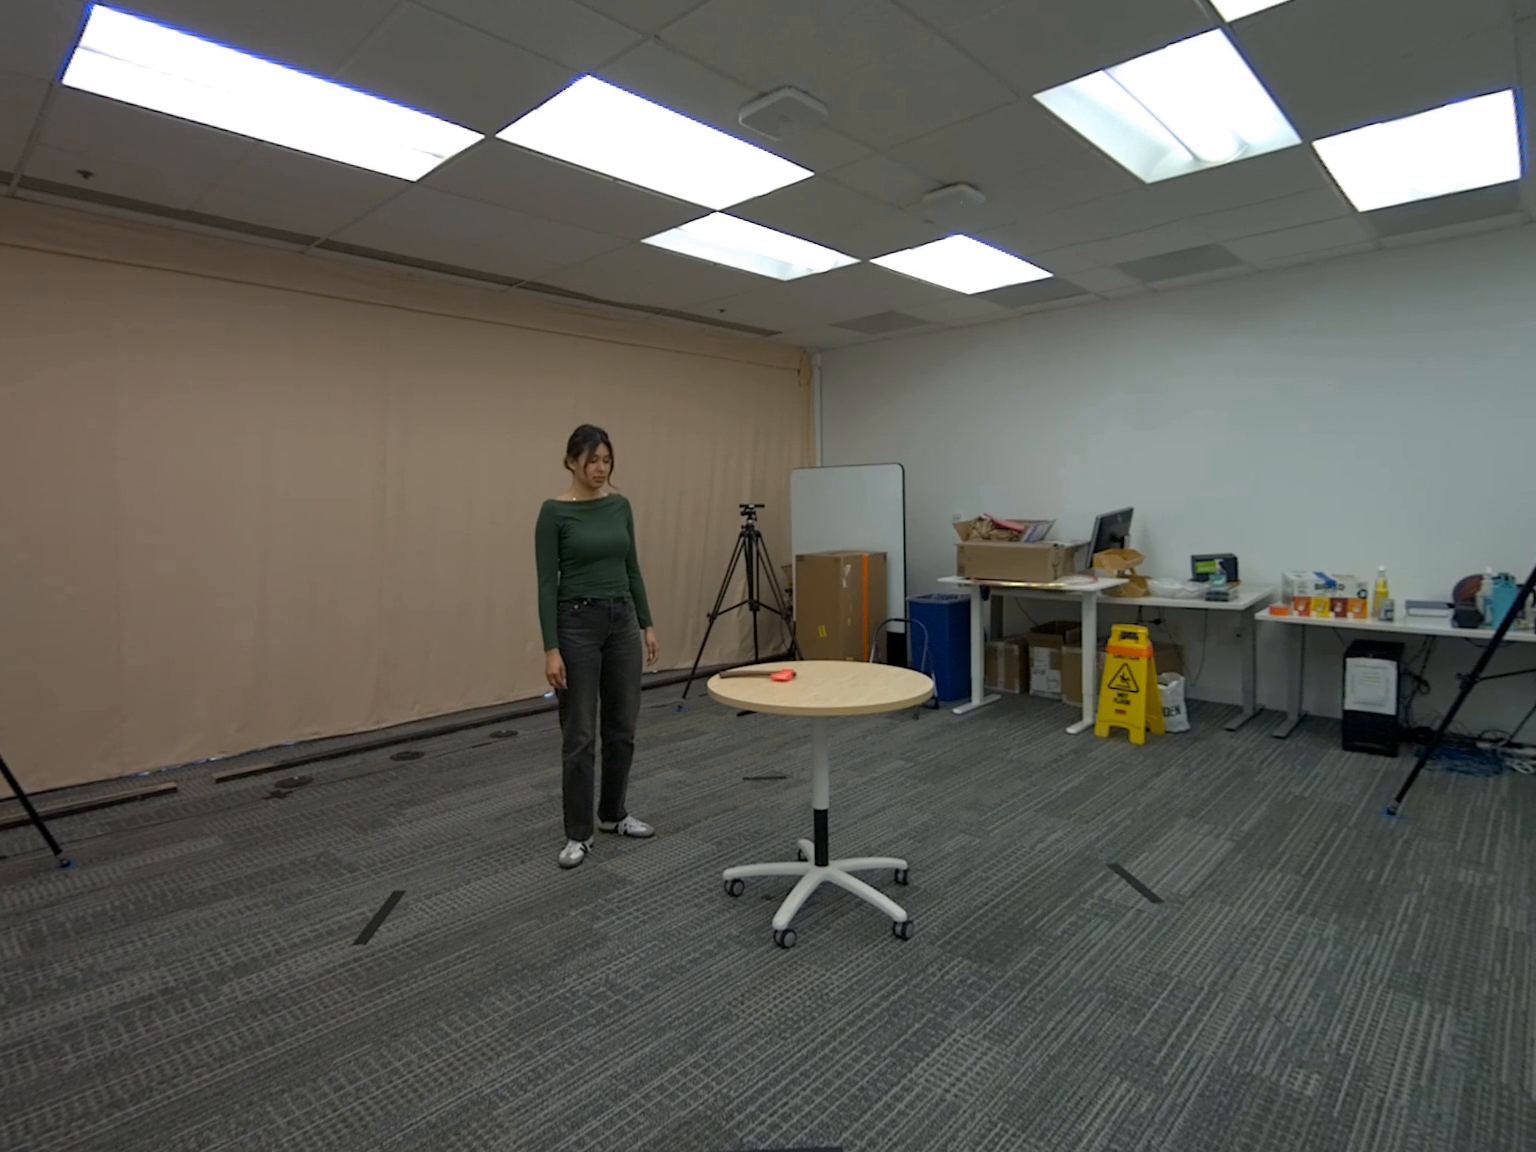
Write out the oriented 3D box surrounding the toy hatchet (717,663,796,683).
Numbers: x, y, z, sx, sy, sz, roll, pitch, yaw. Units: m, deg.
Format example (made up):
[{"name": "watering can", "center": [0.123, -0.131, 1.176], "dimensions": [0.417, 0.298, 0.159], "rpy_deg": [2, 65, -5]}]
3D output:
[{"name": "toy hatchet", "center": [-0.033, 0.351, 2.941], "dimensions": [0.269, 0.029, 0.132], "rpy_deg": [-3, 8, -3]}]
